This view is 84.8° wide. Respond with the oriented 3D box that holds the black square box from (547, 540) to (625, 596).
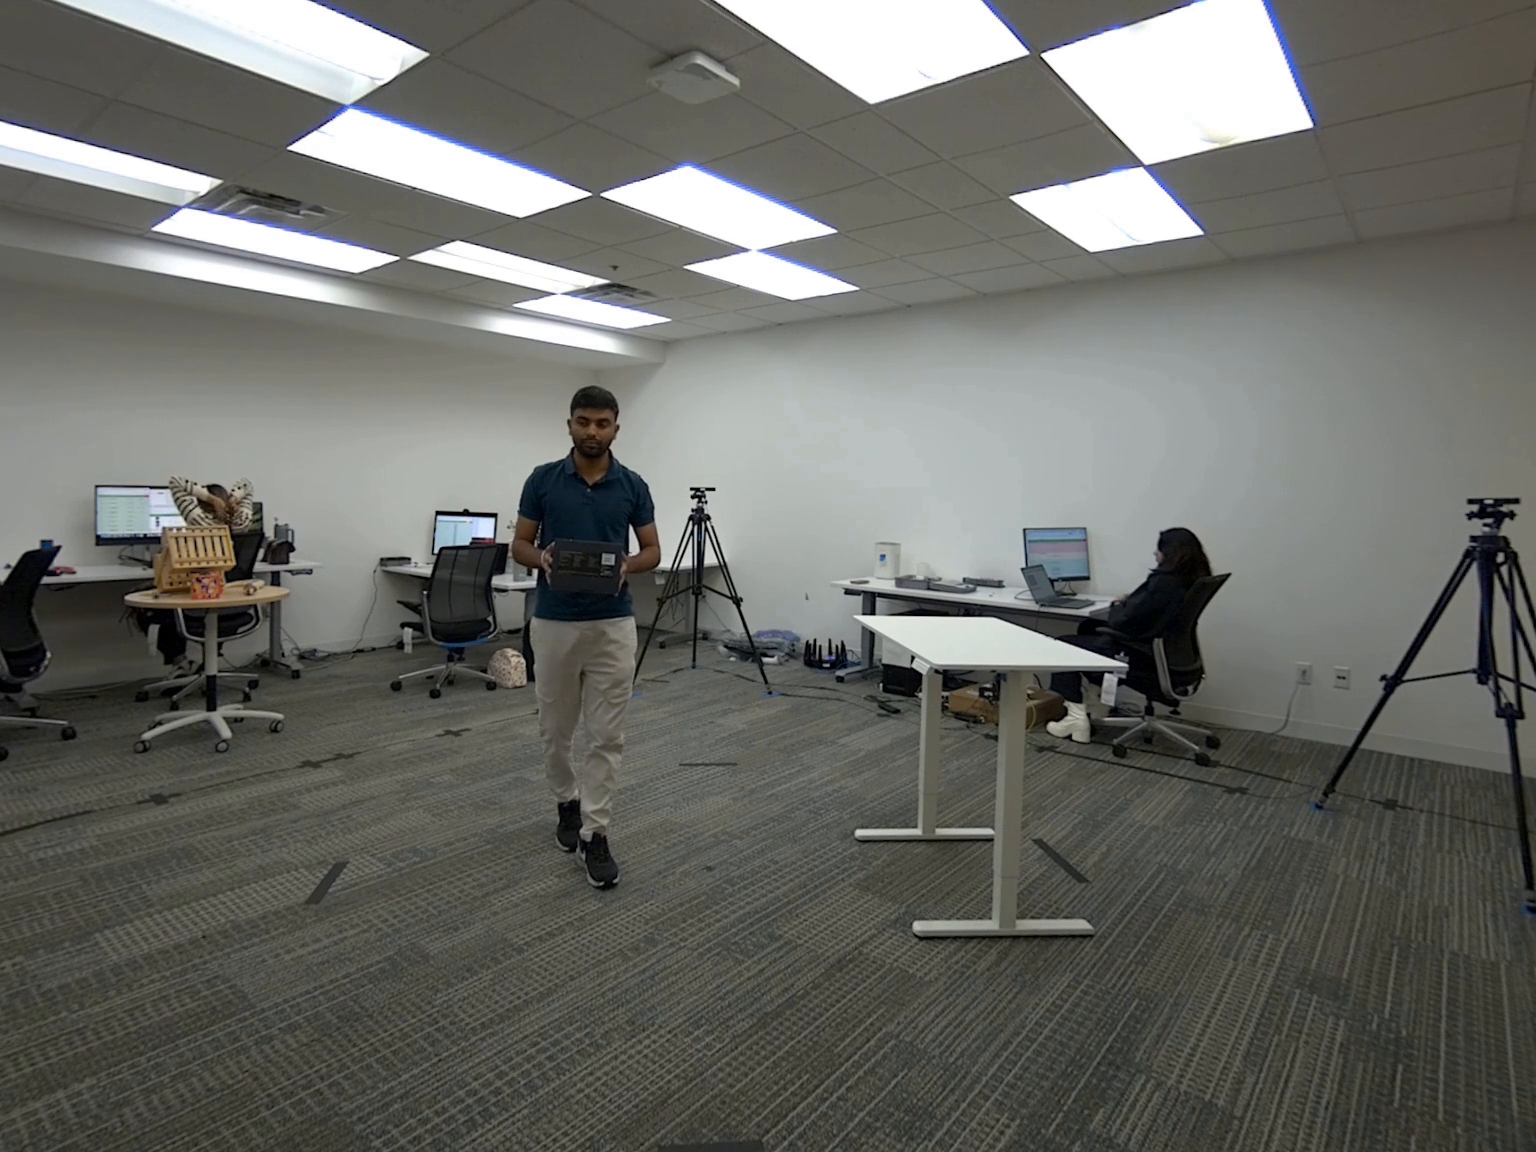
[{"bbox_3d":[-0.614,-0.035,2.794,0.215,0.156,0.229,4,-1,-7],"label":"black square box"}]
